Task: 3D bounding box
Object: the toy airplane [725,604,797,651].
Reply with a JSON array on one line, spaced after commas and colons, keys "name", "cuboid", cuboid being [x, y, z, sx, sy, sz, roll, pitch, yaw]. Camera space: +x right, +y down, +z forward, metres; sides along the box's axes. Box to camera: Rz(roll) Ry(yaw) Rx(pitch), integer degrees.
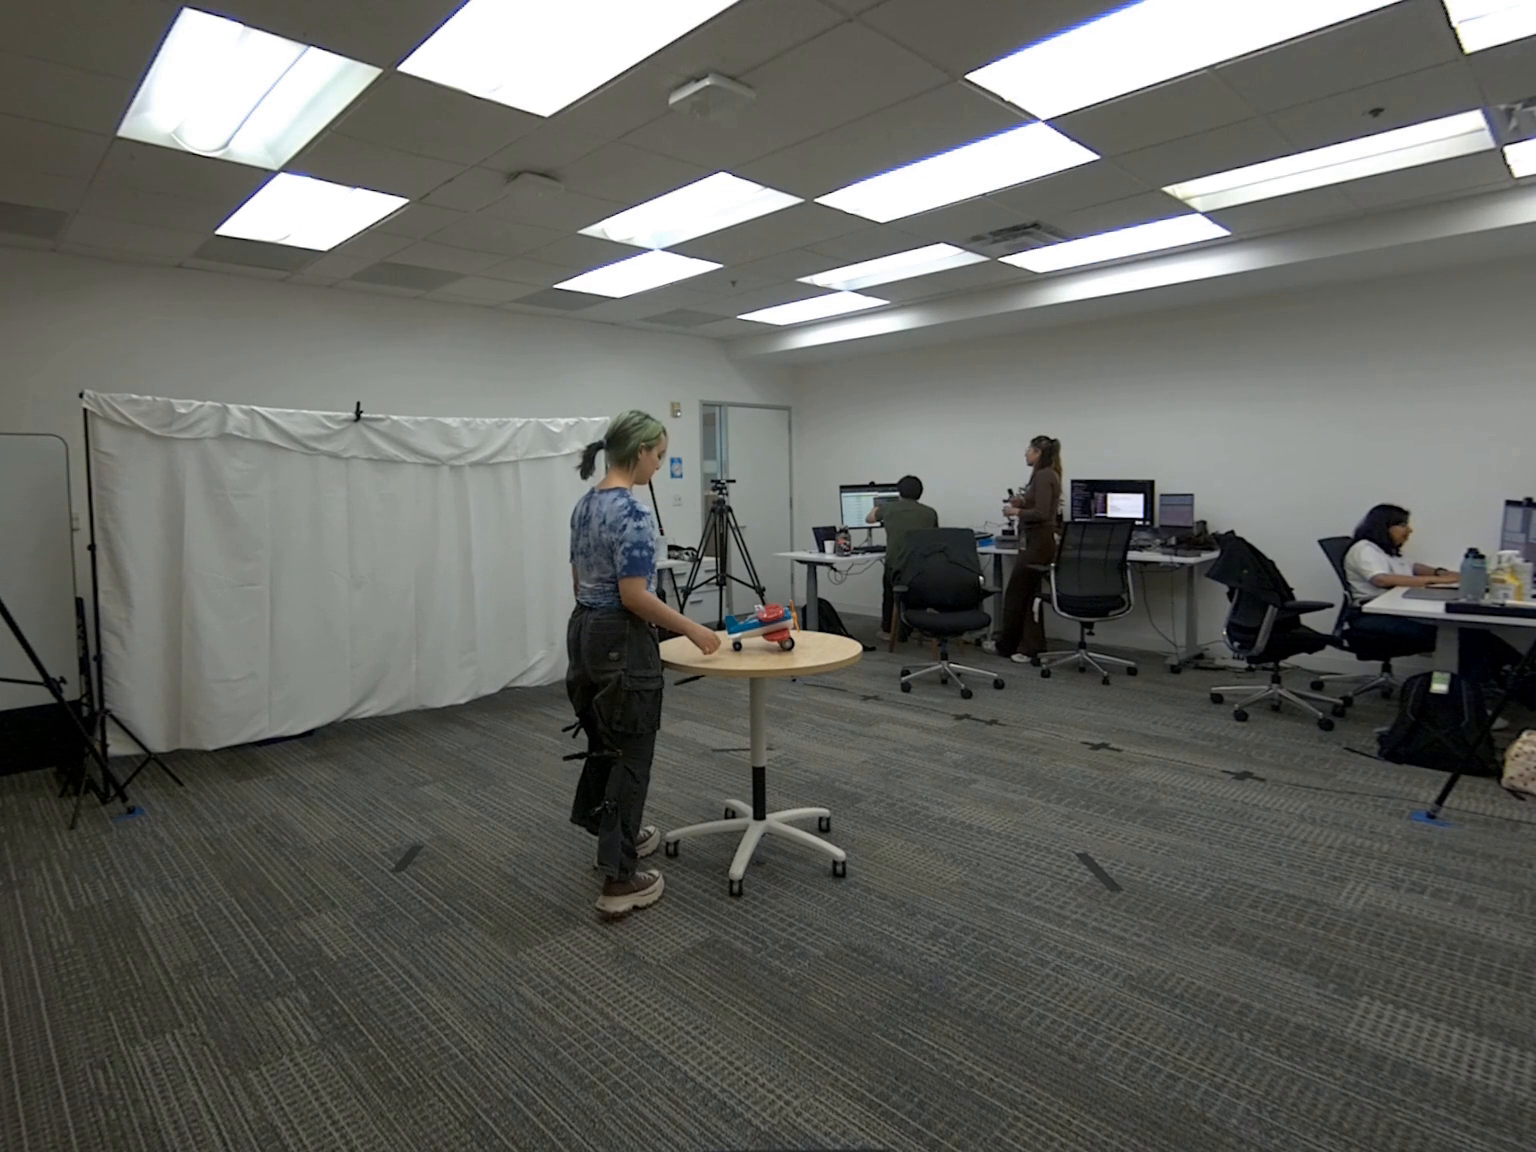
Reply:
[{"name": "toy airplane", "cuboid": [-0.017, 0.190, 3.063, 0.253, 0.156, 0.258, -3, 6, -33]}]
